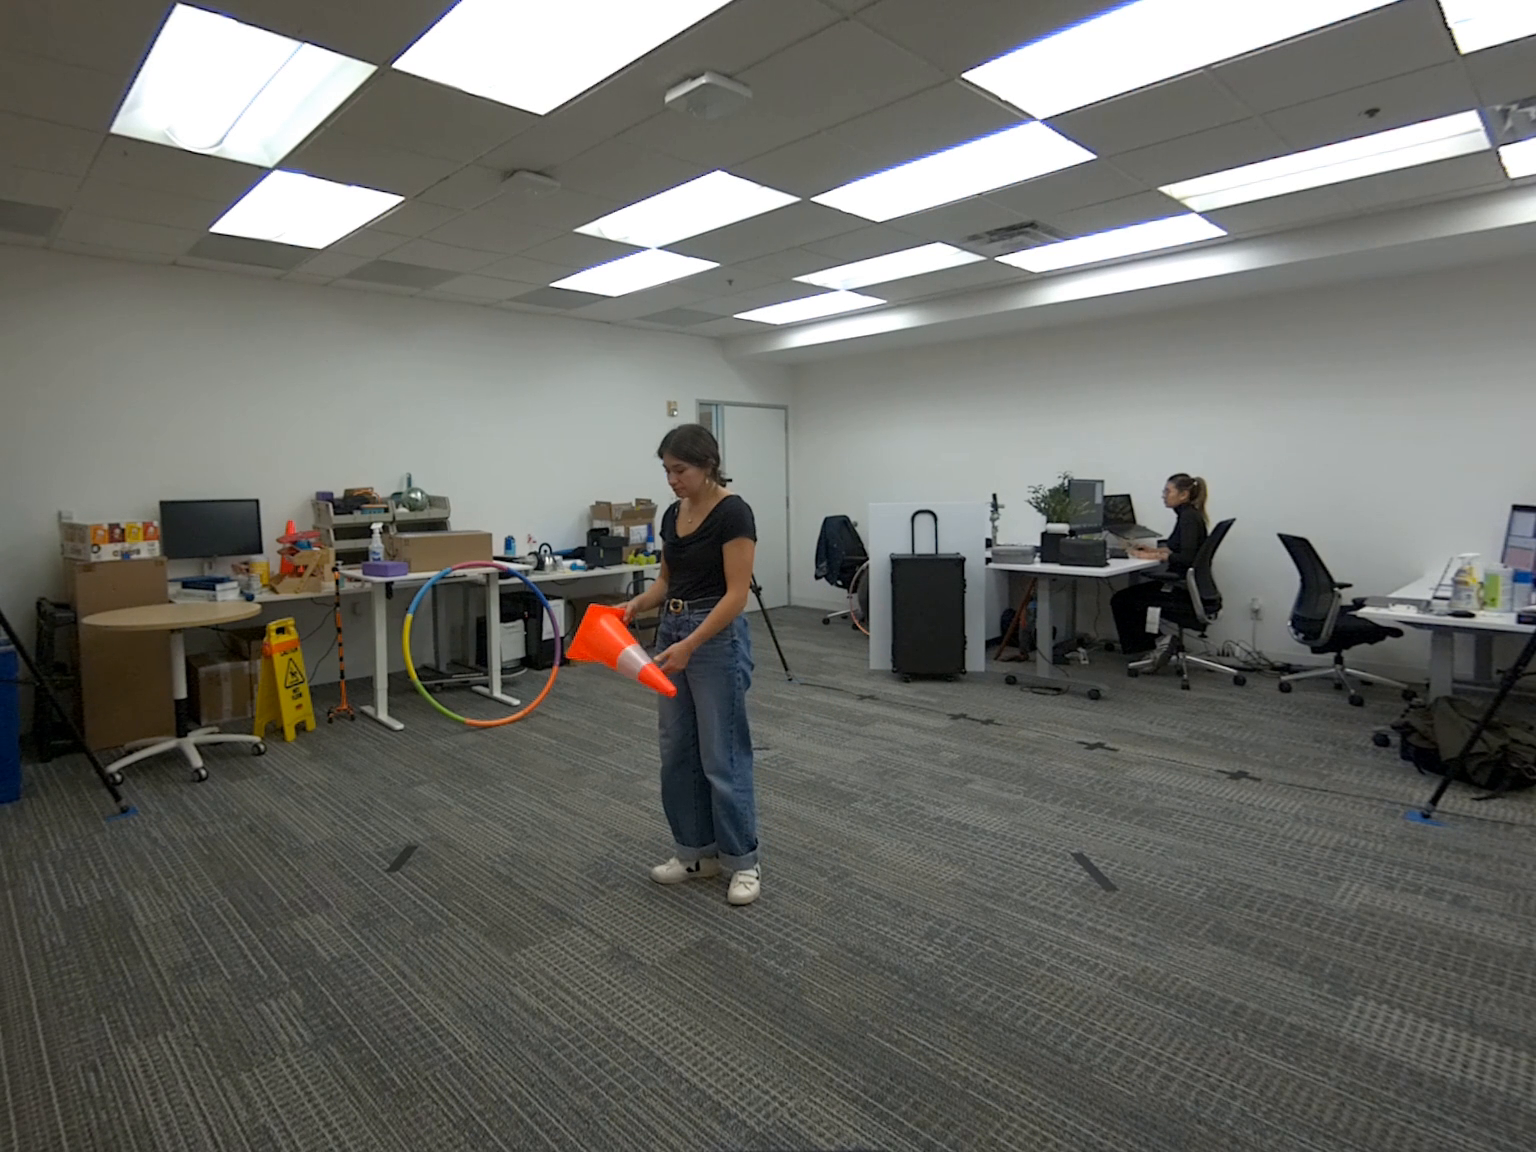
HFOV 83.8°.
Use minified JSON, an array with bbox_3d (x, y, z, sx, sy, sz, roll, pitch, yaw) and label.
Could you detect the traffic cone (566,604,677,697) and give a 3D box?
[{"bbox_3d":[-0.419,0.282,2.699,0.398,0.204,0.196,33,11,37],"label":"traffic cone"}]
